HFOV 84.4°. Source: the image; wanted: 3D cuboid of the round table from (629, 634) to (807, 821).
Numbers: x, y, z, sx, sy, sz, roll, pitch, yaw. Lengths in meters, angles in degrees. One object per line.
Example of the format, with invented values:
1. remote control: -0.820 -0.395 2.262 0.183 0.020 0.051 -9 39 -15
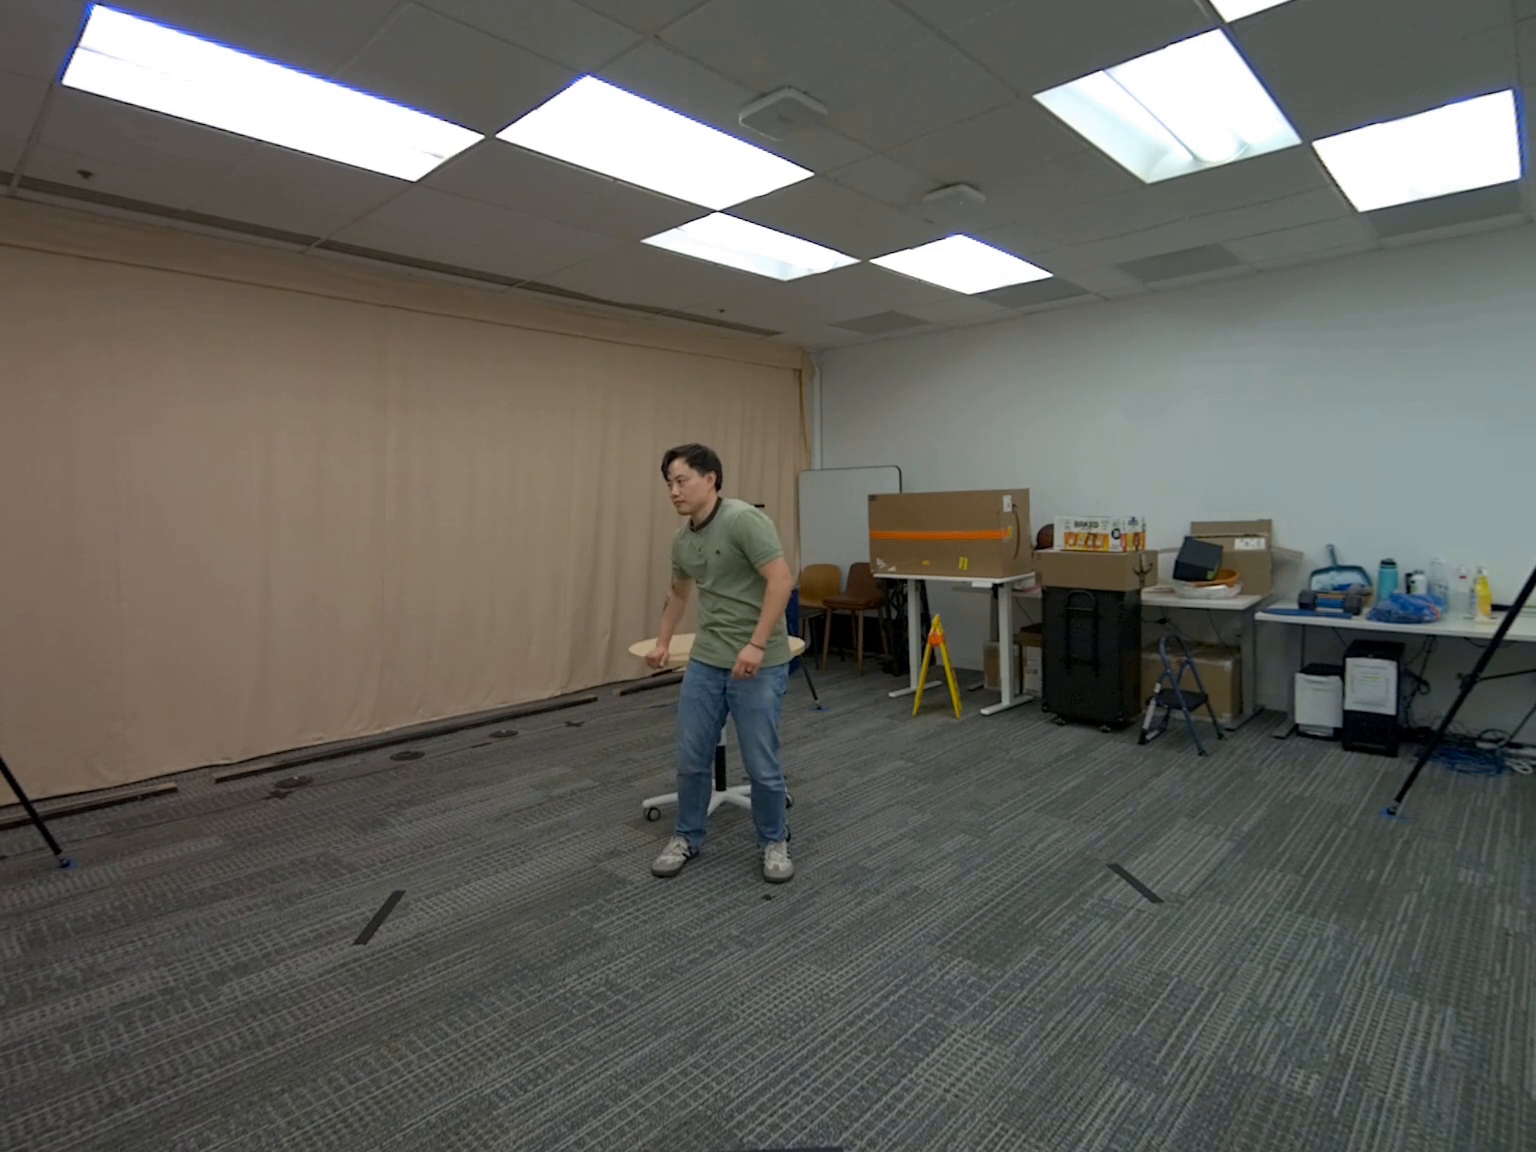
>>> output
1. round table: -0.217 0.693 3.695 0.763 0.792 0.766 -2 3 -2
